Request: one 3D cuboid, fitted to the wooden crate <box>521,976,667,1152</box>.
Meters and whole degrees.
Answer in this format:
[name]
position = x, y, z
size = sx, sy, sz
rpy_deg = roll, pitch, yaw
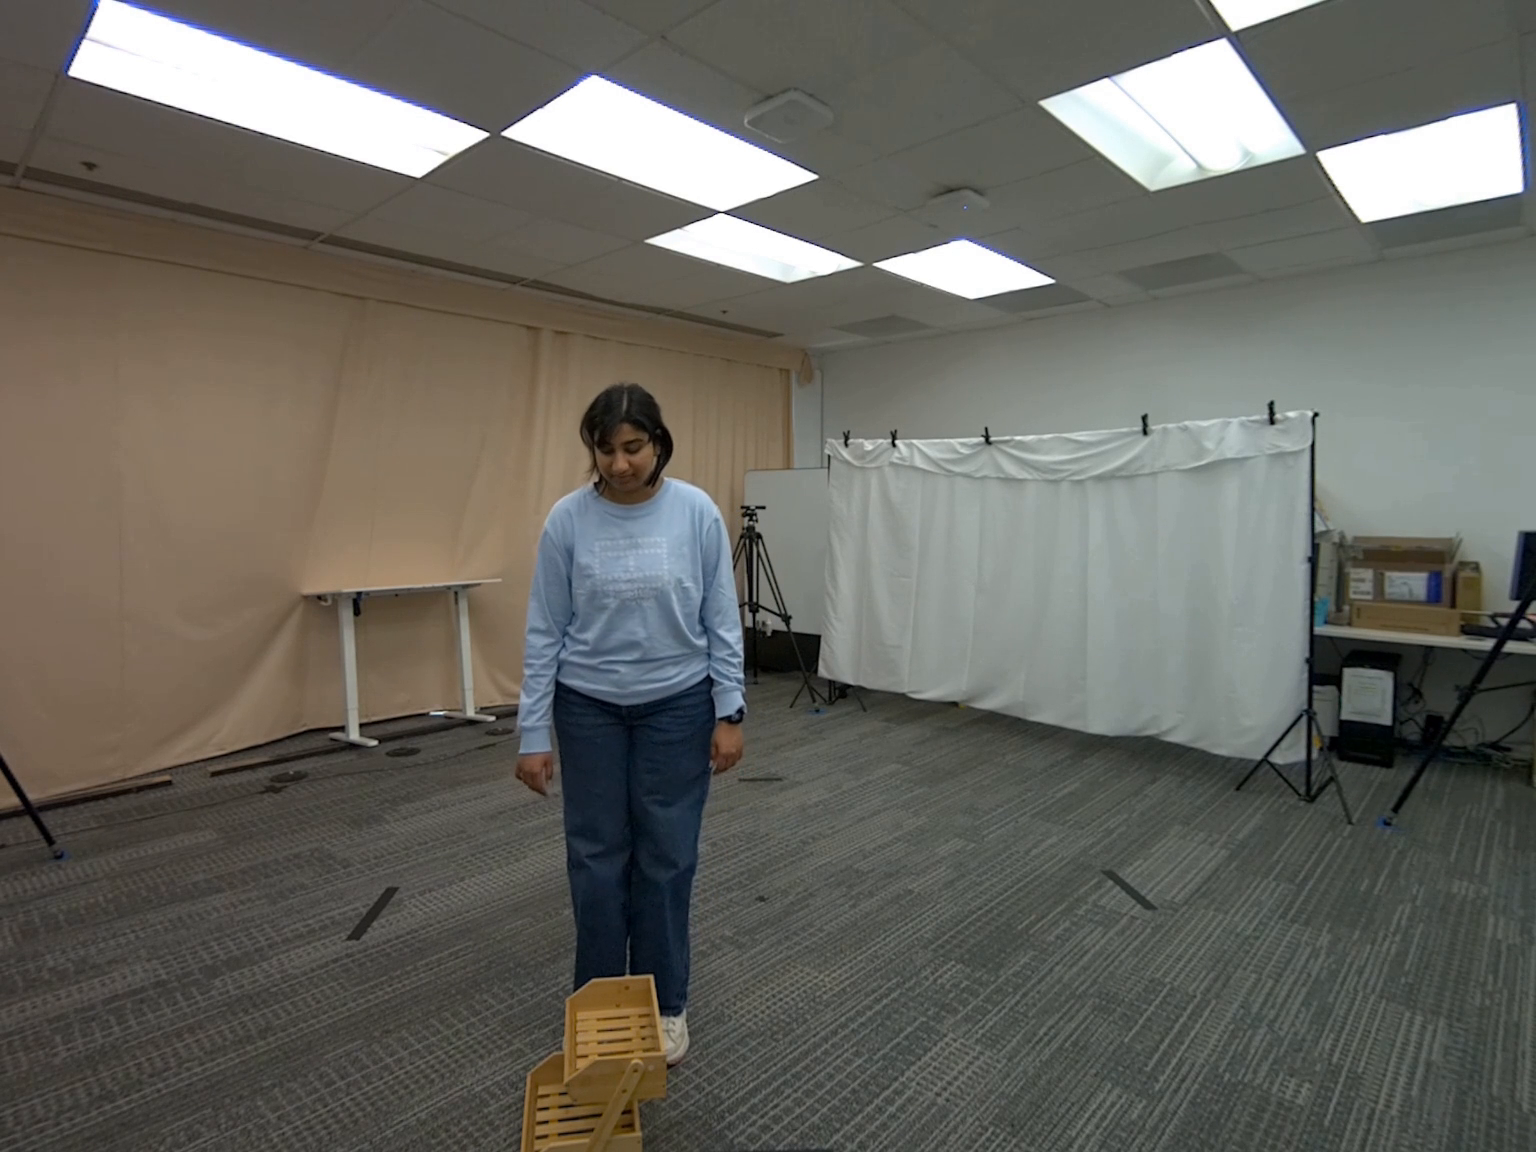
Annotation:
[wooden crate]
position = -0.395, 1.105, 1.868
size = 0.299, 0.273, 0.329
rpy_deg = 0, 4, -11
